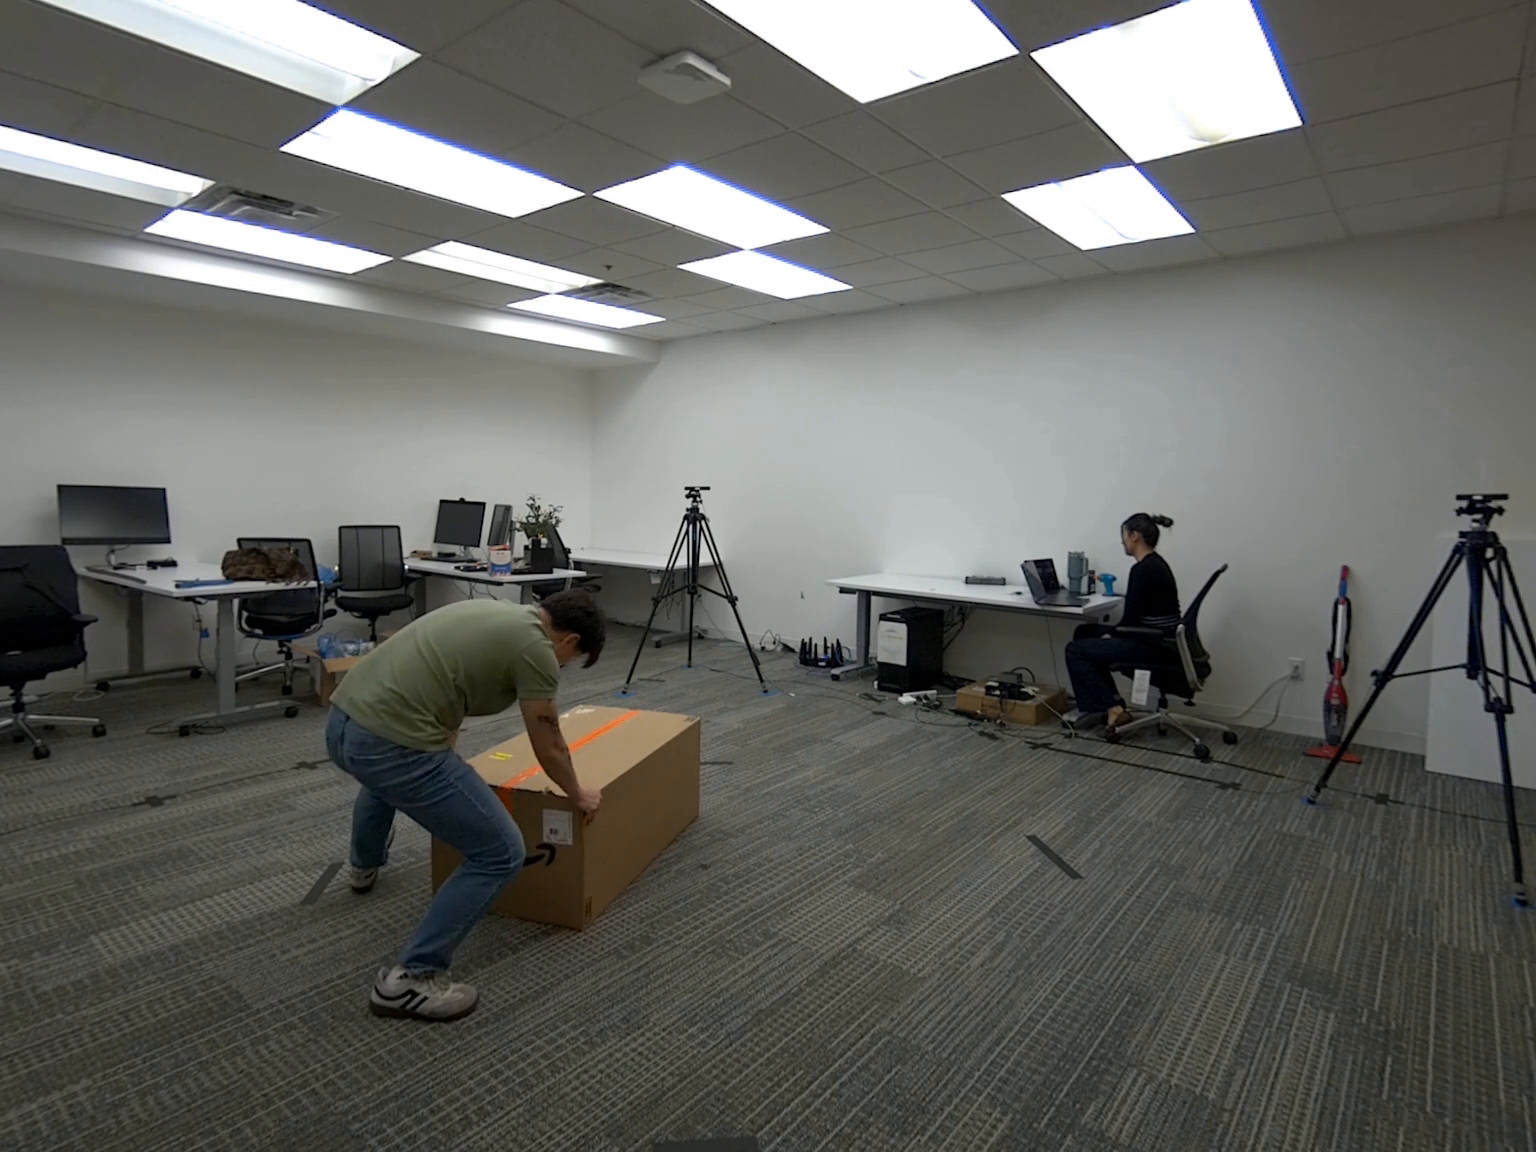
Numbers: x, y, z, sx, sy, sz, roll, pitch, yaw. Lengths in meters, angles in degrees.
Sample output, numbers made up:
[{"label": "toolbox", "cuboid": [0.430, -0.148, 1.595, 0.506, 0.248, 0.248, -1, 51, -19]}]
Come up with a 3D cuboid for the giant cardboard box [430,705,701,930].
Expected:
[{"label": "giant cardboard box", "cuboid": [-0.708, 0.837, 3.212, 0.588, 0.424, 1.011, 1, 6, 17]}]
